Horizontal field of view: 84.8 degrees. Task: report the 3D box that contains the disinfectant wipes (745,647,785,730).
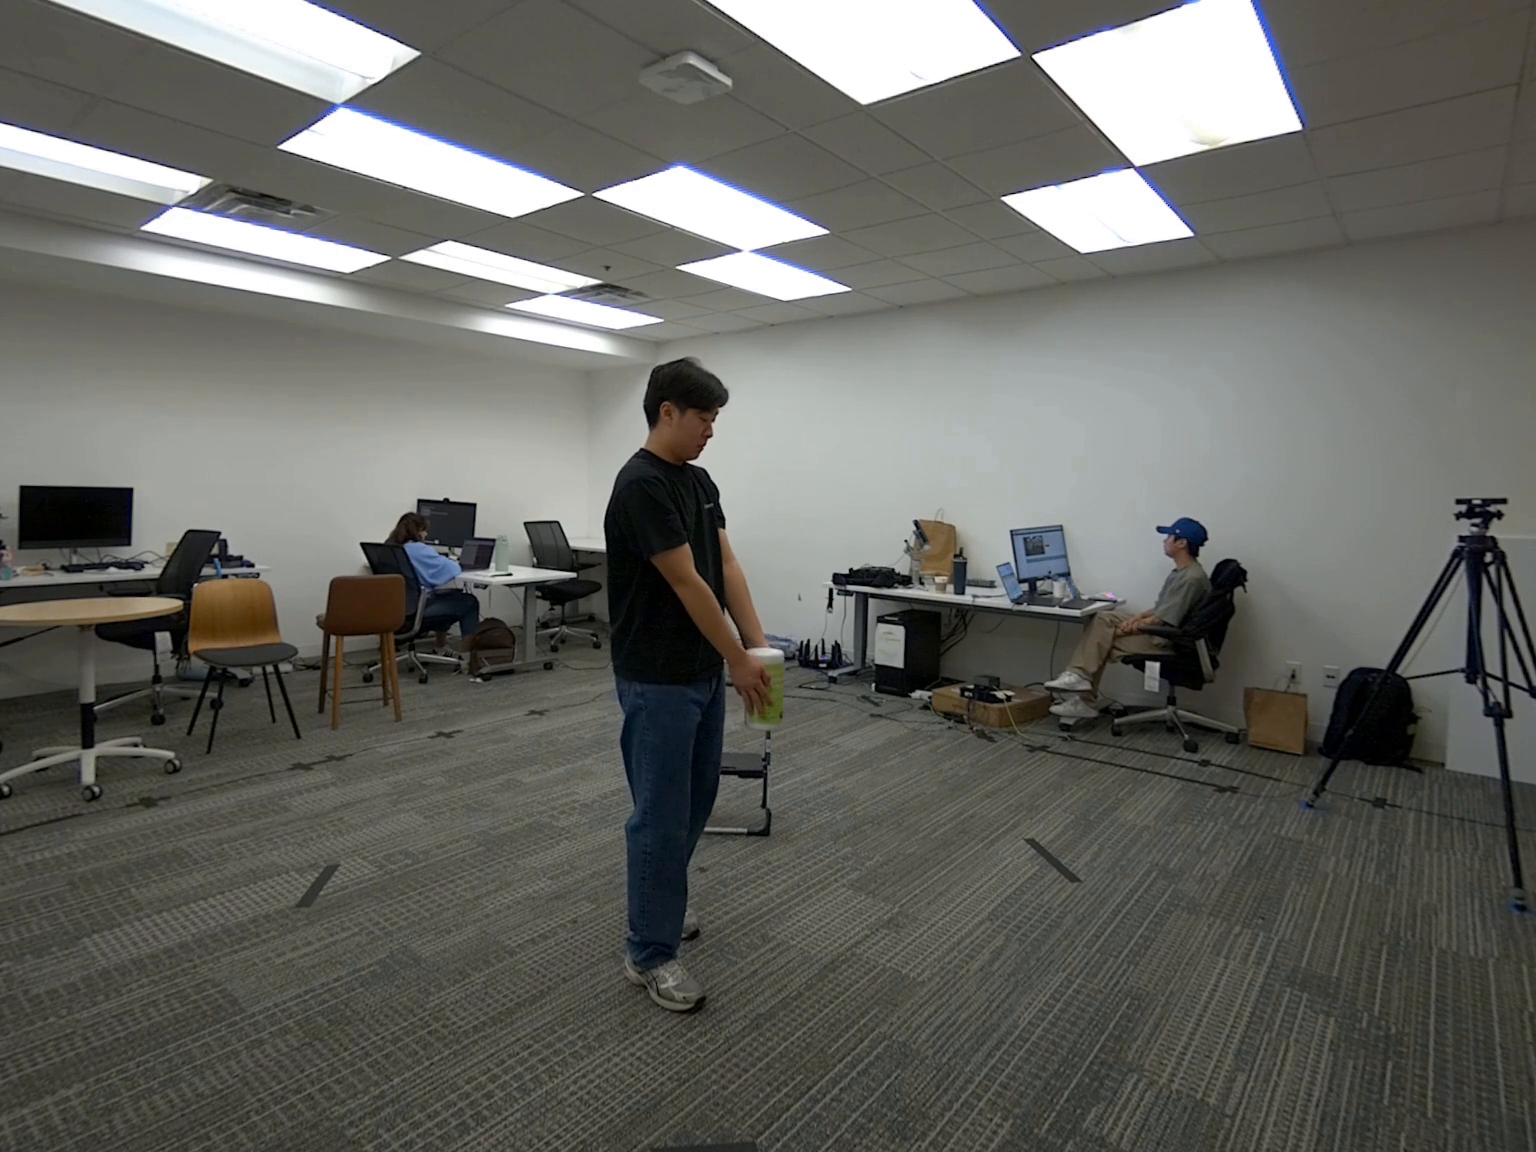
[{"bbox_3d":[-0.030,0.320,2.394,0.117,0.217,0.118,2,4,-2],"label":"disinfectant wipes"}]
